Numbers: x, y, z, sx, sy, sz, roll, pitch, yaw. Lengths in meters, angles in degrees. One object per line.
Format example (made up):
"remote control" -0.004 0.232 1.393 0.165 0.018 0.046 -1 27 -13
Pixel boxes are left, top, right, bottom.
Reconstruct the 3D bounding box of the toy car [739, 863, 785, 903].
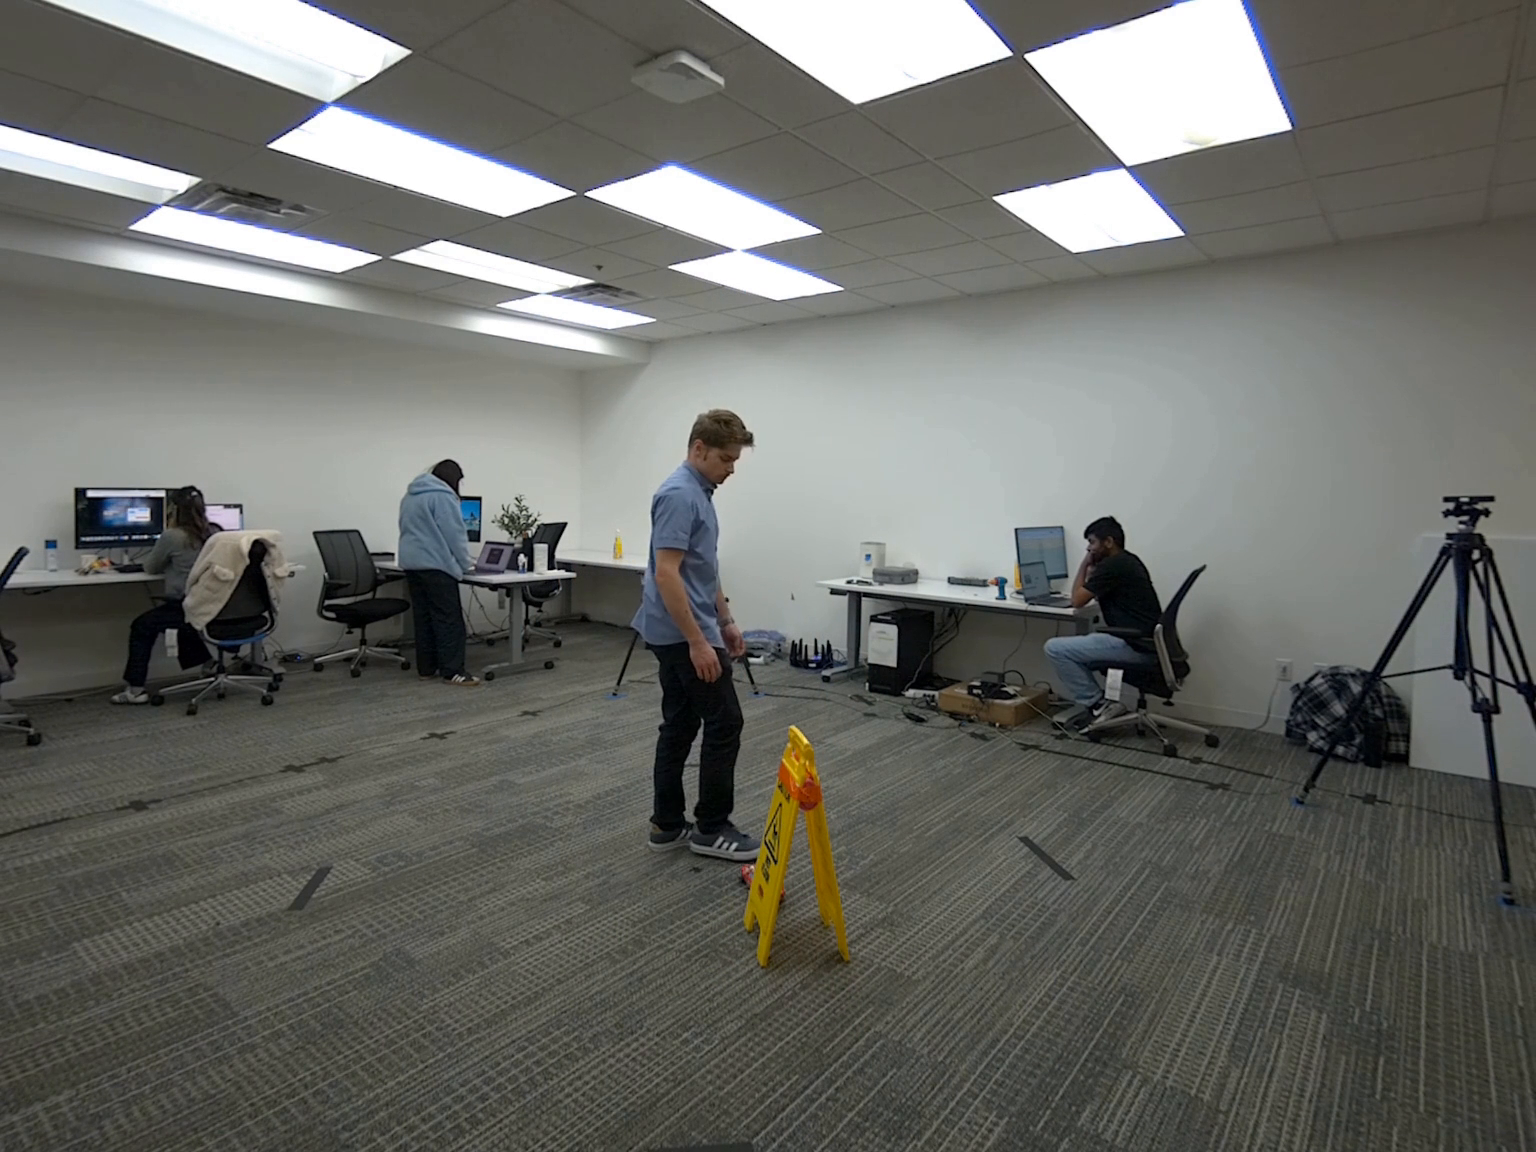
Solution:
"toy car" -0.019 1.054 2.926 0.128 0.084 0.256 1 -7 -13
